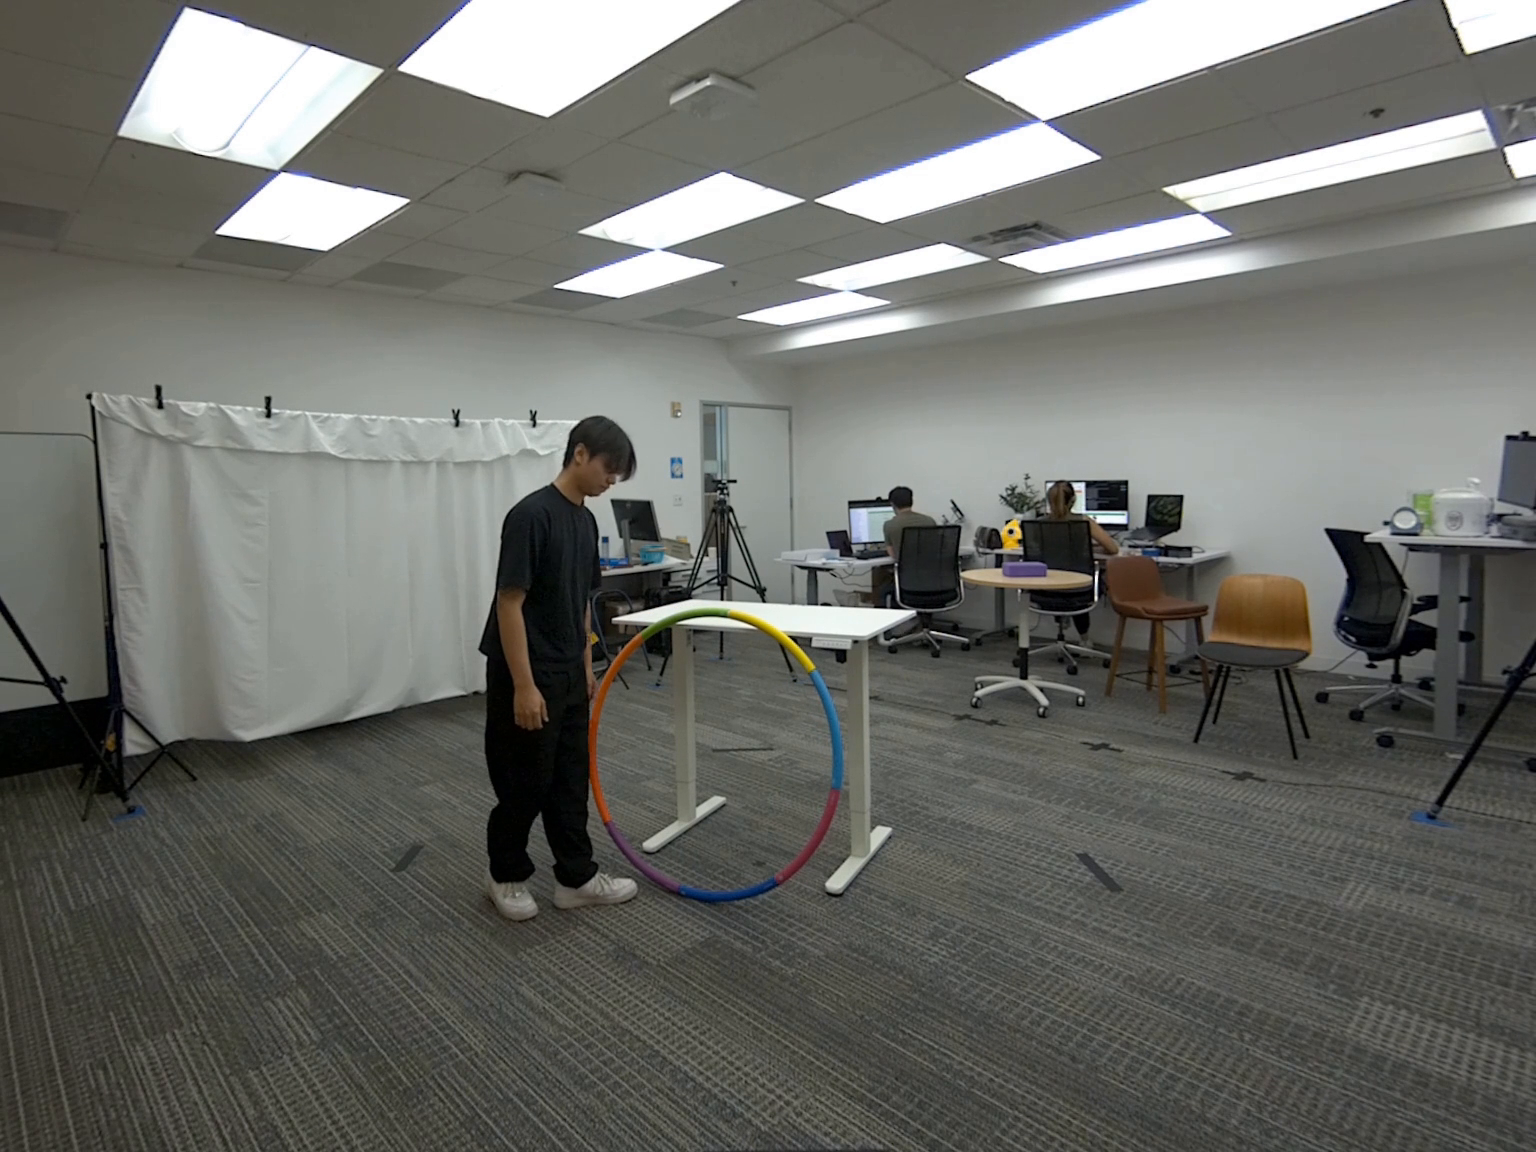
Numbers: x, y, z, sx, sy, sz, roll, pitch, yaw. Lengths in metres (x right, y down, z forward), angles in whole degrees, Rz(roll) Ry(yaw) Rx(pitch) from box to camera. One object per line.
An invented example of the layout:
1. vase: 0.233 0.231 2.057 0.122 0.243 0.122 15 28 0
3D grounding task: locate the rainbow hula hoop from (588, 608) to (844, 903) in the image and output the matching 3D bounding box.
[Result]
1. rainbow hula hoop: -0.216 0.601 2.919 1.003 0.984 0.034 1 -7 29
